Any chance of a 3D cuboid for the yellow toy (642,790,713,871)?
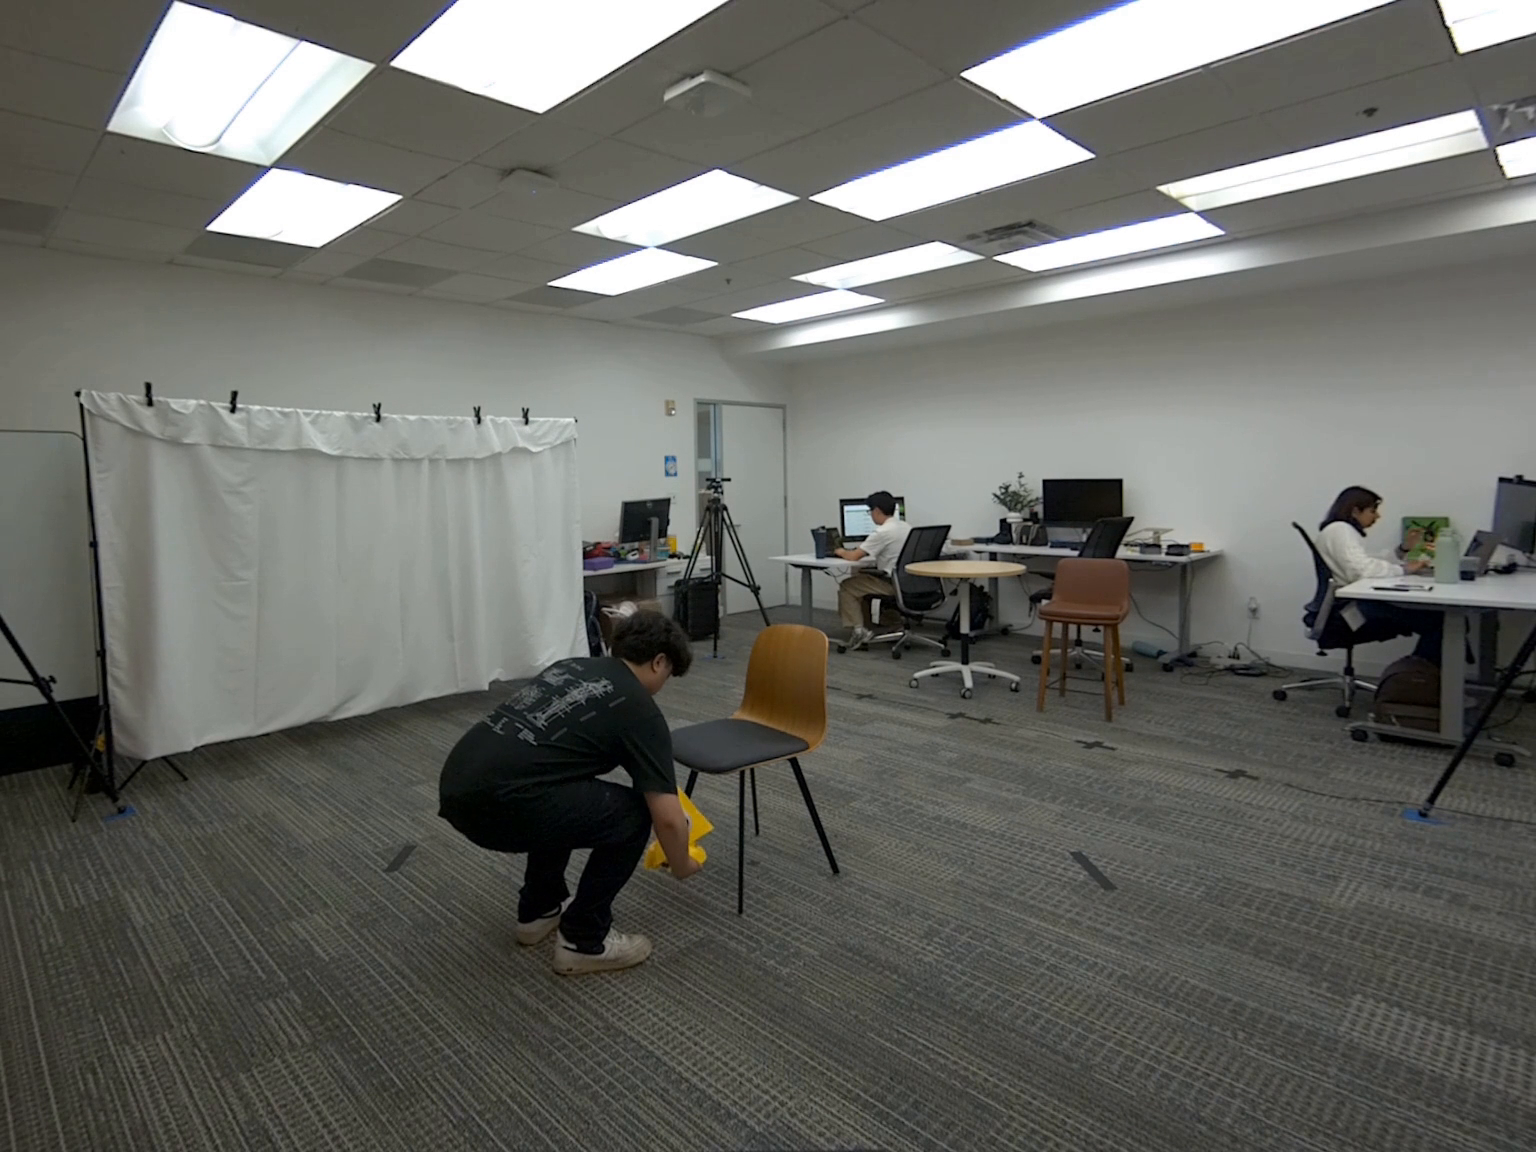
[{"bbox_3d":[-0.316,0.810,2.784,0.209,0.231,0.188,-10,0,39],"label":"yellow toy"}]
